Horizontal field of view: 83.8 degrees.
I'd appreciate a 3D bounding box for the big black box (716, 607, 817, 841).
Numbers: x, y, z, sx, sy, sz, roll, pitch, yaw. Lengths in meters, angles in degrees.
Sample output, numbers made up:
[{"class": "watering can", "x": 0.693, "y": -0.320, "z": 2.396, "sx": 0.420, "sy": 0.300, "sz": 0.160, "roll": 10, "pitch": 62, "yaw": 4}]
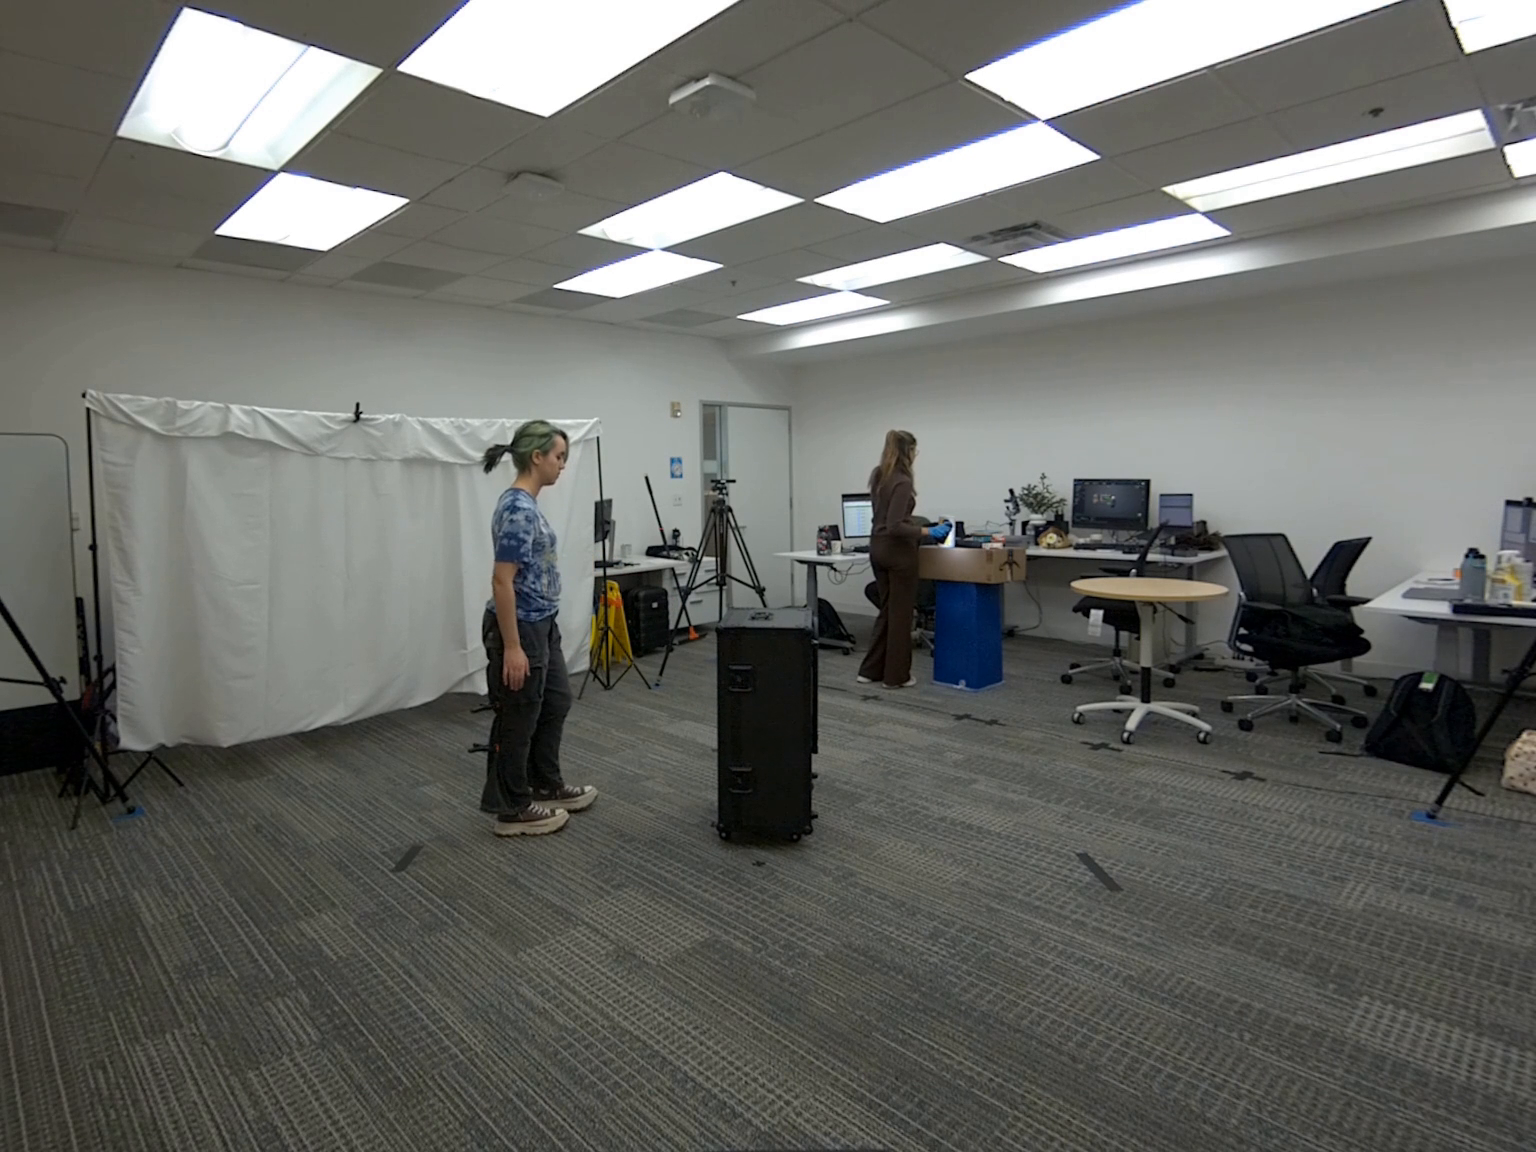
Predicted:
[{"class": "big black box", "x": 0.005, "y": 0.583, "z": 3.422, "sx": 0.399, "sy": 0.858, "sz": 0.520, "roll": 1, "pitch": 4, "yaw": 5}]
